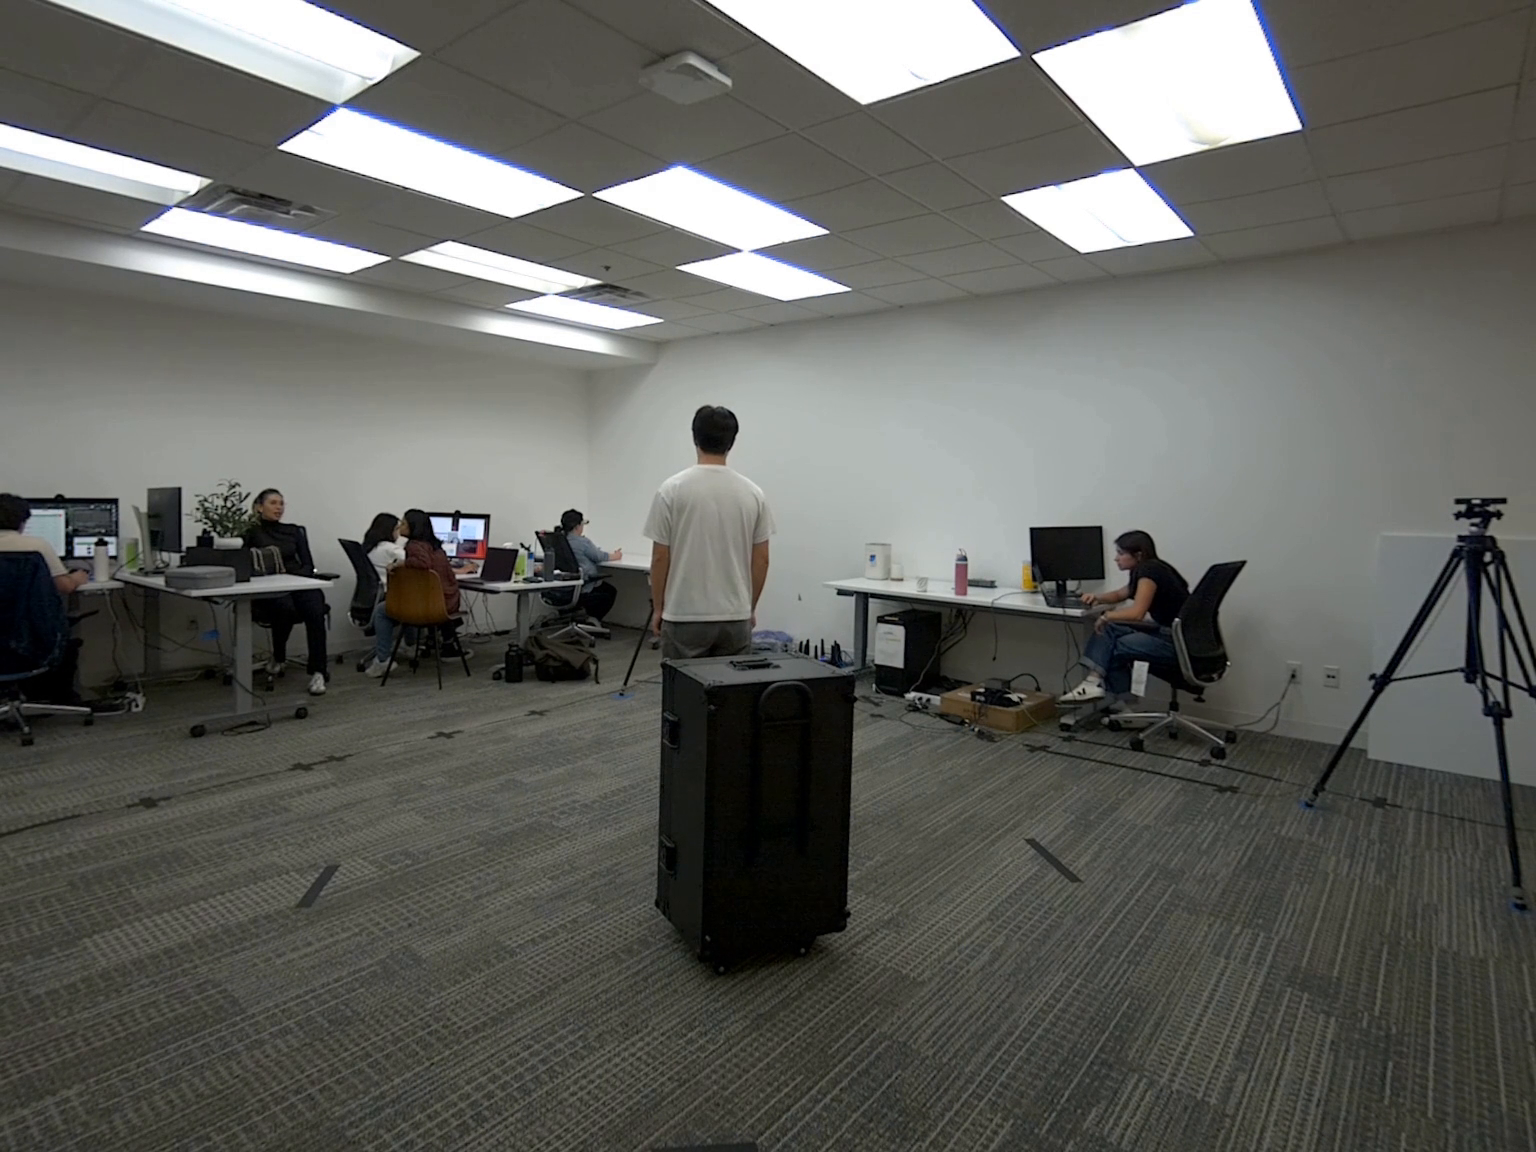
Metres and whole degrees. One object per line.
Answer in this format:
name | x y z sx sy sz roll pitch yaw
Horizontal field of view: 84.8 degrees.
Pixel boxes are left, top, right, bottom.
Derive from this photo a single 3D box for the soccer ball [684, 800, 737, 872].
soccer ball | -0.215 0.962 3.127 0.187 0.187 0.188 1 4 -2
